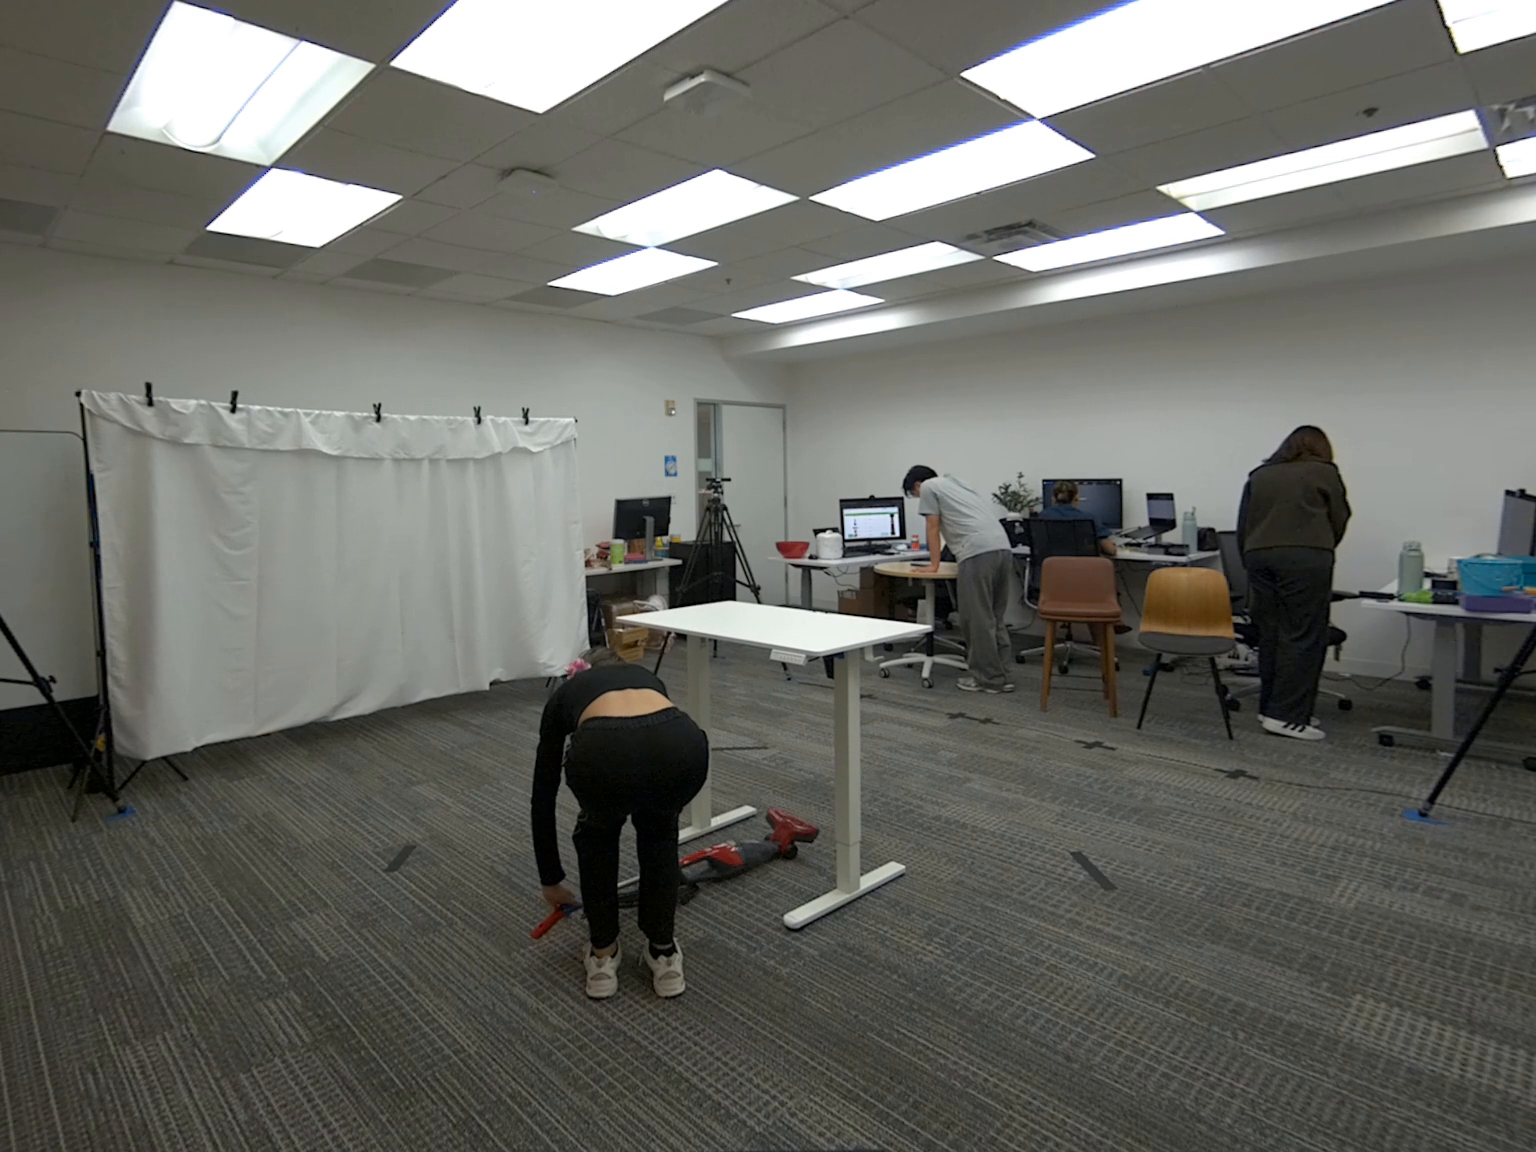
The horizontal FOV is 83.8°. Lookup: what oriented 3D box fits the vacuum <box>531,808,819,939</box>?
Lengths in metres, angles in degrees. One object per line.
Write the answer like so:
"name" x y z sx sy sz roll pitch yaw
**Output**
"vacuum" -0.301 1.023 2.856 1.023 0.143 0.261 -8 11 -41
